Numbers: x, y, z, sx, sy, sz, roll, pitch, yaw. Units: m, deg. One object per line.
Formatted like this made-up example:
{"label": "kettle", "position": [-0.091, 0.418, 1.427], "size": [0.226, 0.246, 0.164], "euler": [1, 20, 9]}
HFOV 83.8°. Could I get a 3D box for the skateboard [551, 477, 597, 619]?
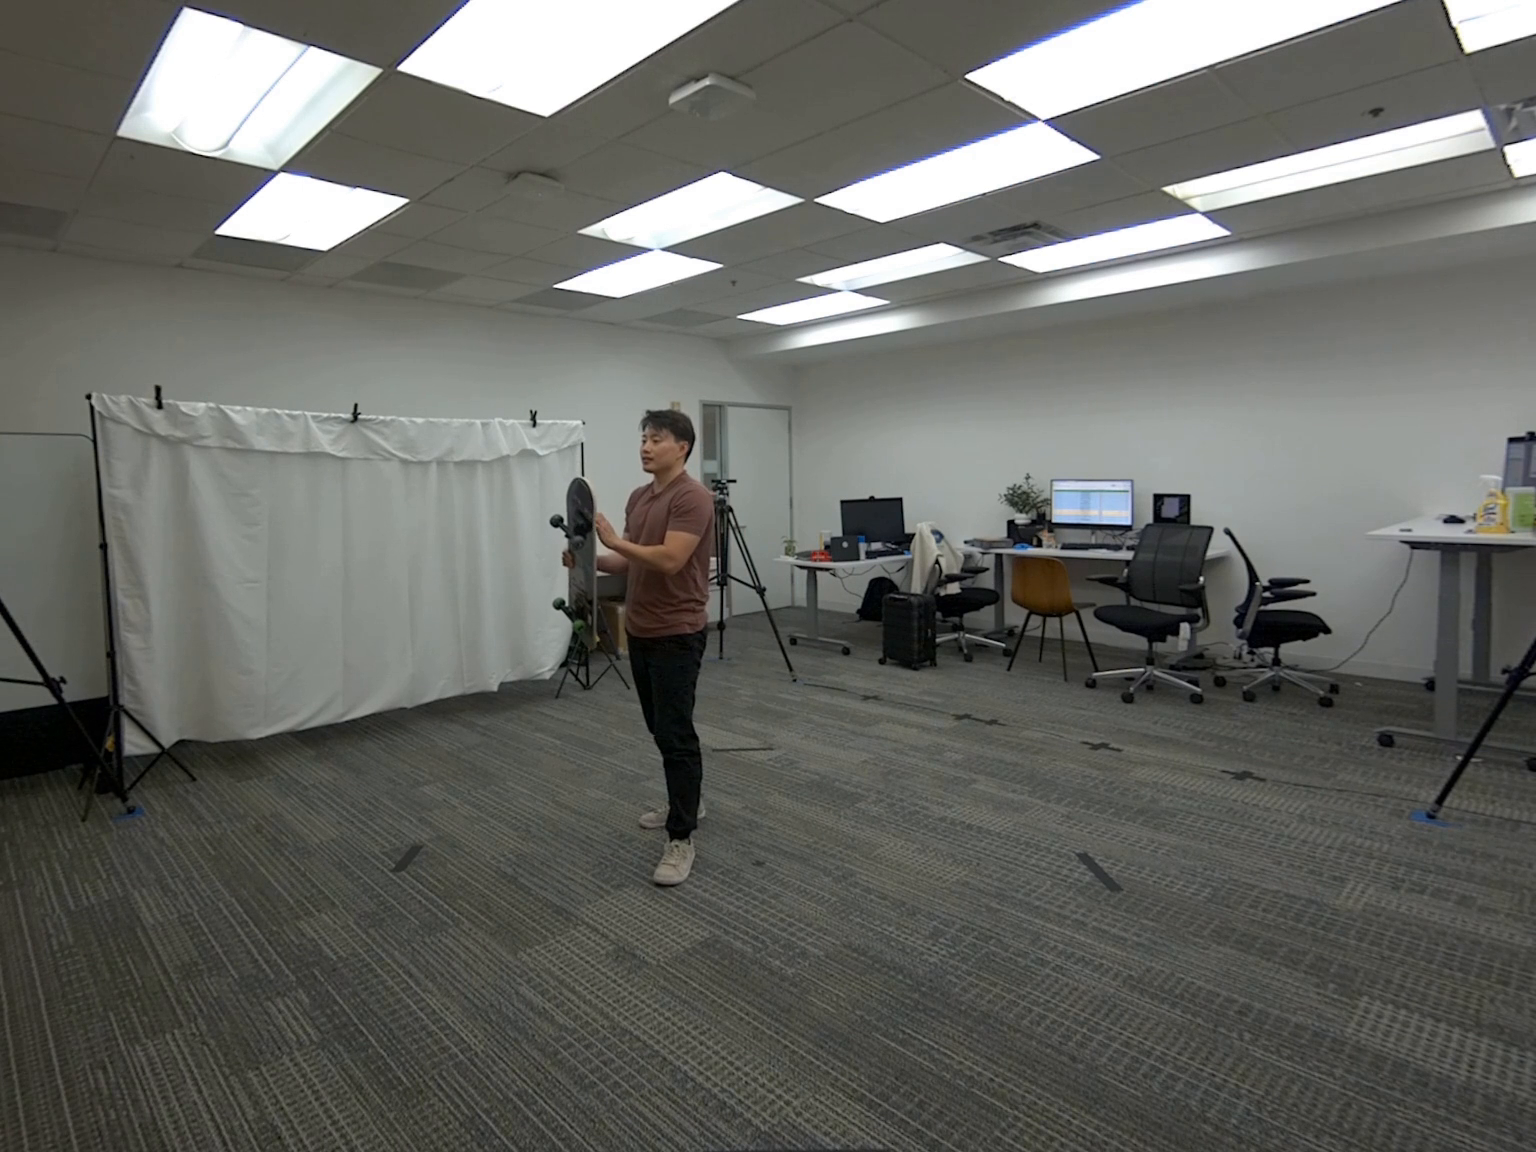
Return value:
{"label": "skateboard", "position": [-0.719, -0.012, 3.198], "size": [0.108, 0.768, 0.201], "euler": [-21, 44, -34]}
